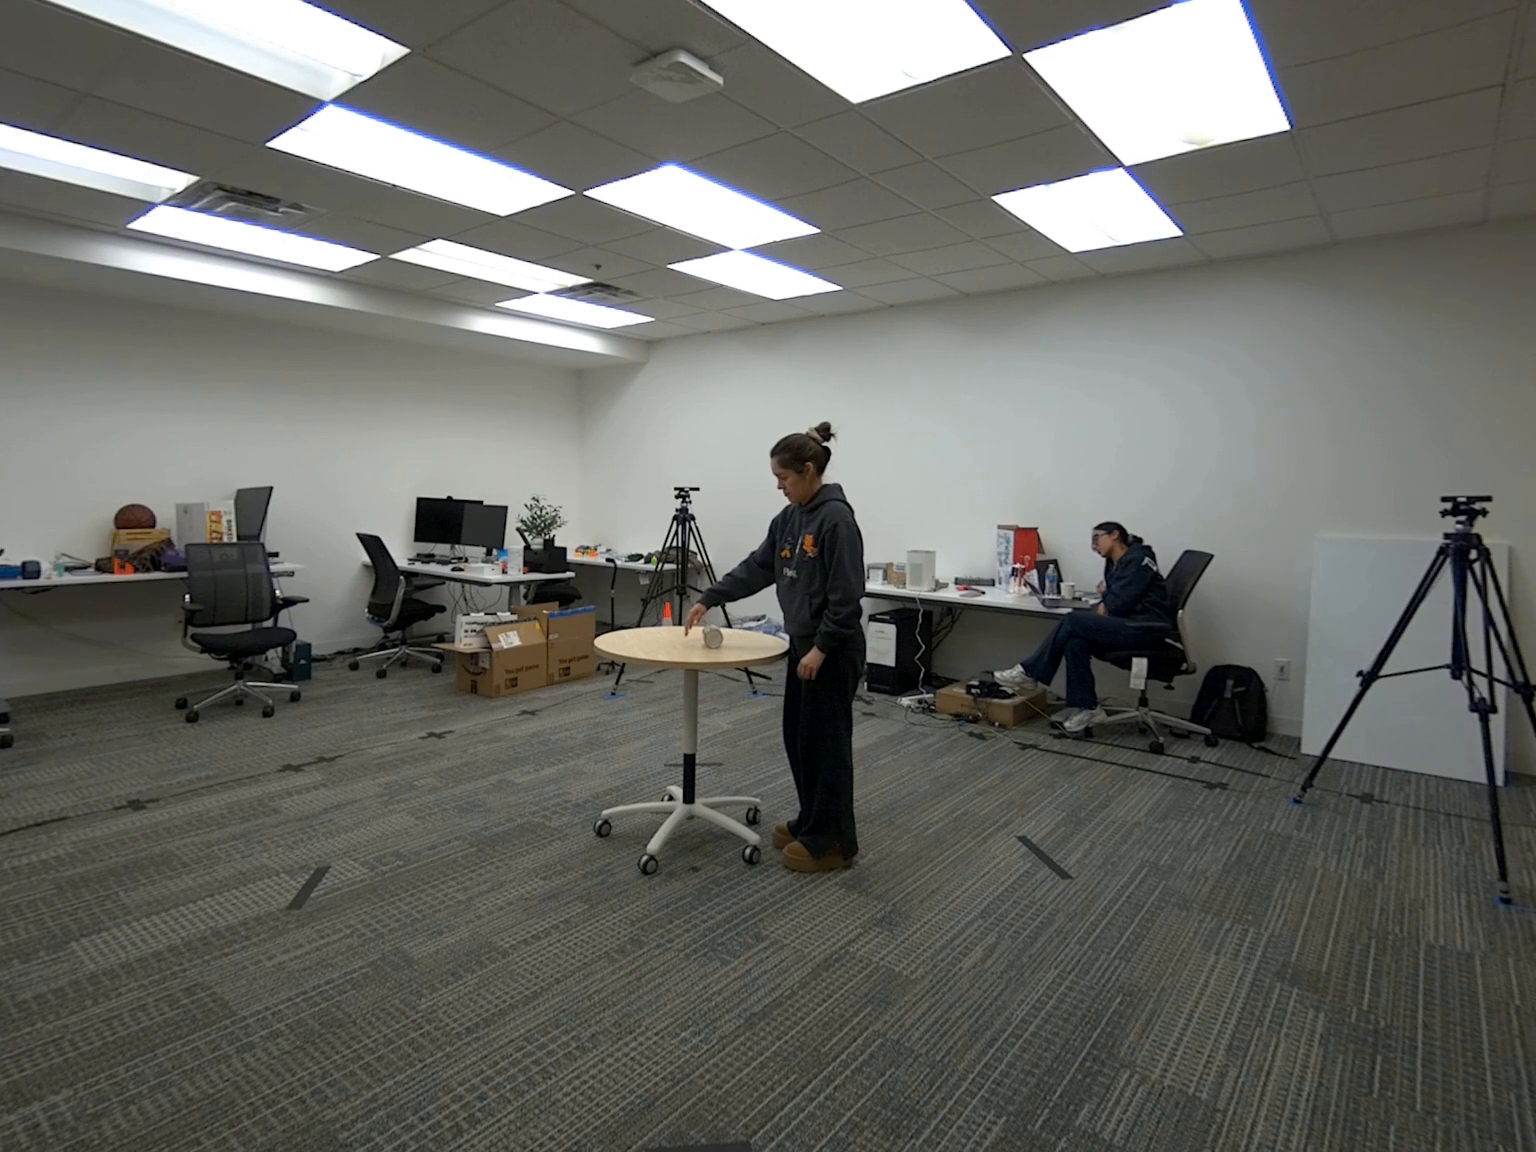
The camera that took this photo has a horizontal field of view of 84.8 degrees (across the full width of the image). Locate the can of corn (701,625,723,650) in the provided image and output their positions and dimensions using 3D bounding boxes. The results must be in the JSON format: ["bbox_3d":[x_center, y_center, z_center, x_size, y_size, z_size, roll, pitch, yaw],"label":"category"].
[{"bbox_3d":[-0.217,0.229,3.298,0.074,0.074,0.112,0,3,-7],"label":"can of corn"}]
